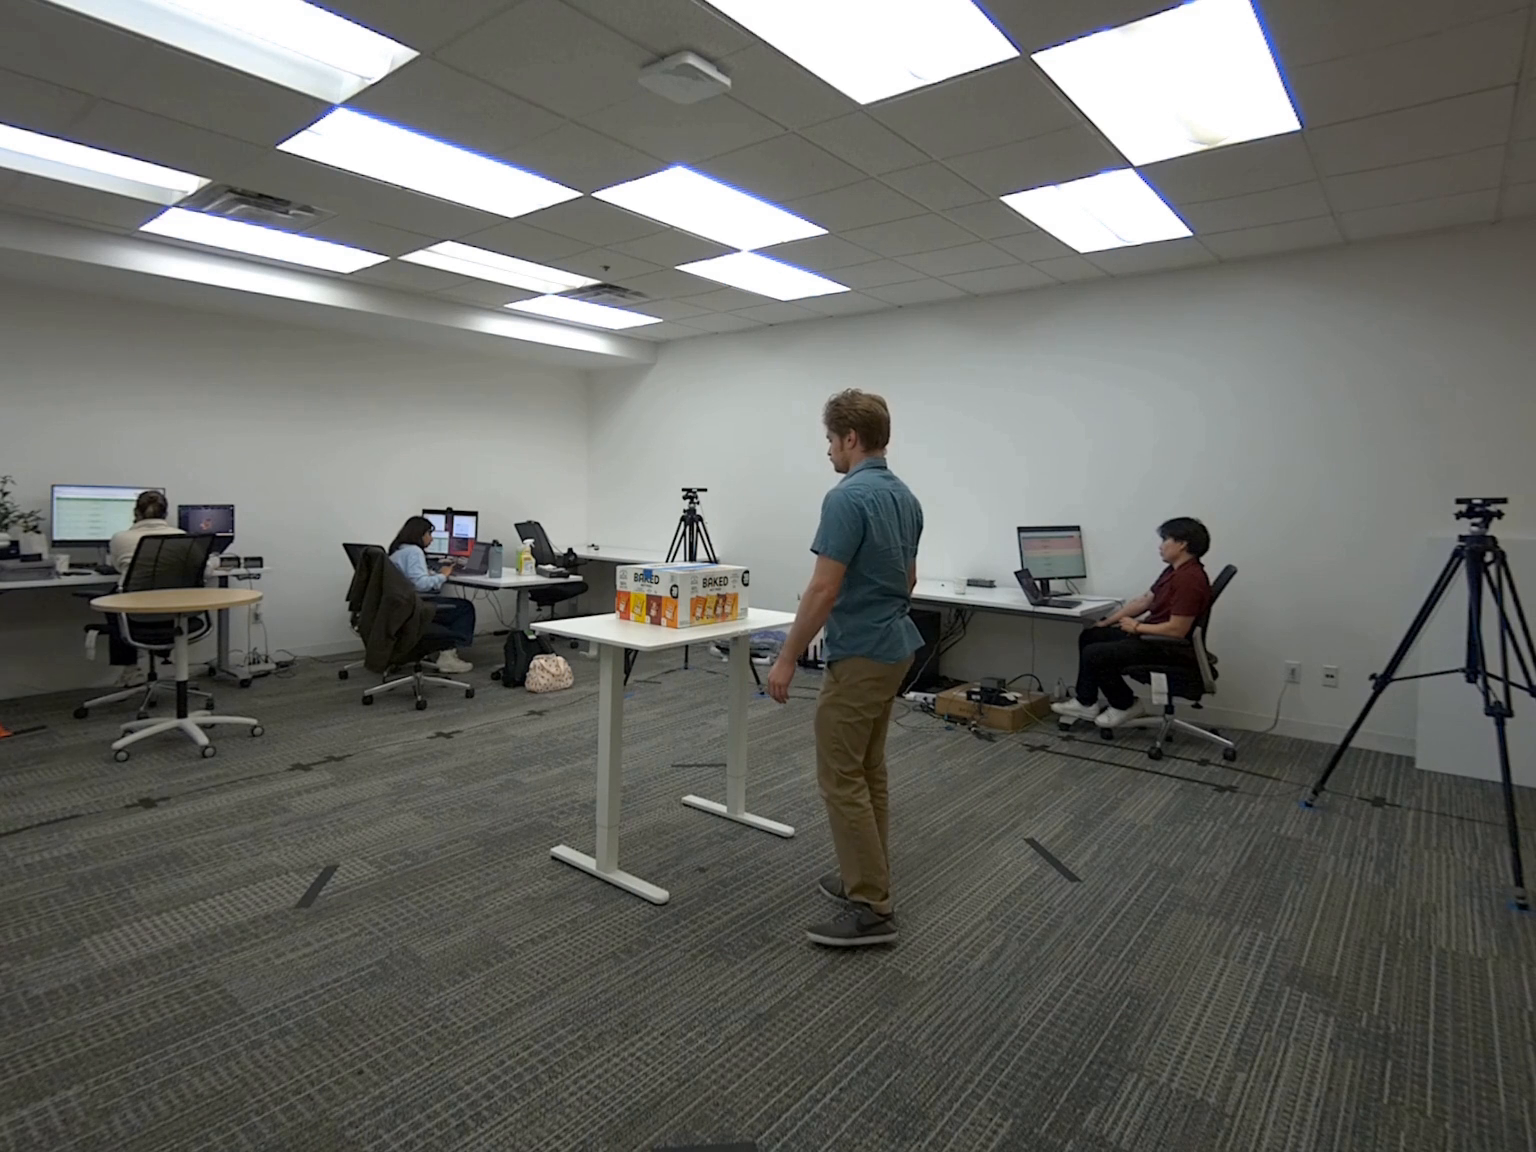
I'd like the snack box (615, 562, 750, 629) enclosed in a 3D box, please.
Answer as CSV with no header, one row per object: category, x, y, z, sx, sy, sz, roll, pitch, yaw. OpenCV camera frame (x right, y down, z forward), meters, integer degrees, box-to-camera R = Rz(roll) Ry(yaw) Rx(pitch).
snack box,-0.342,0.062,3.323,0.352,0.205,0.393,6,7,39
